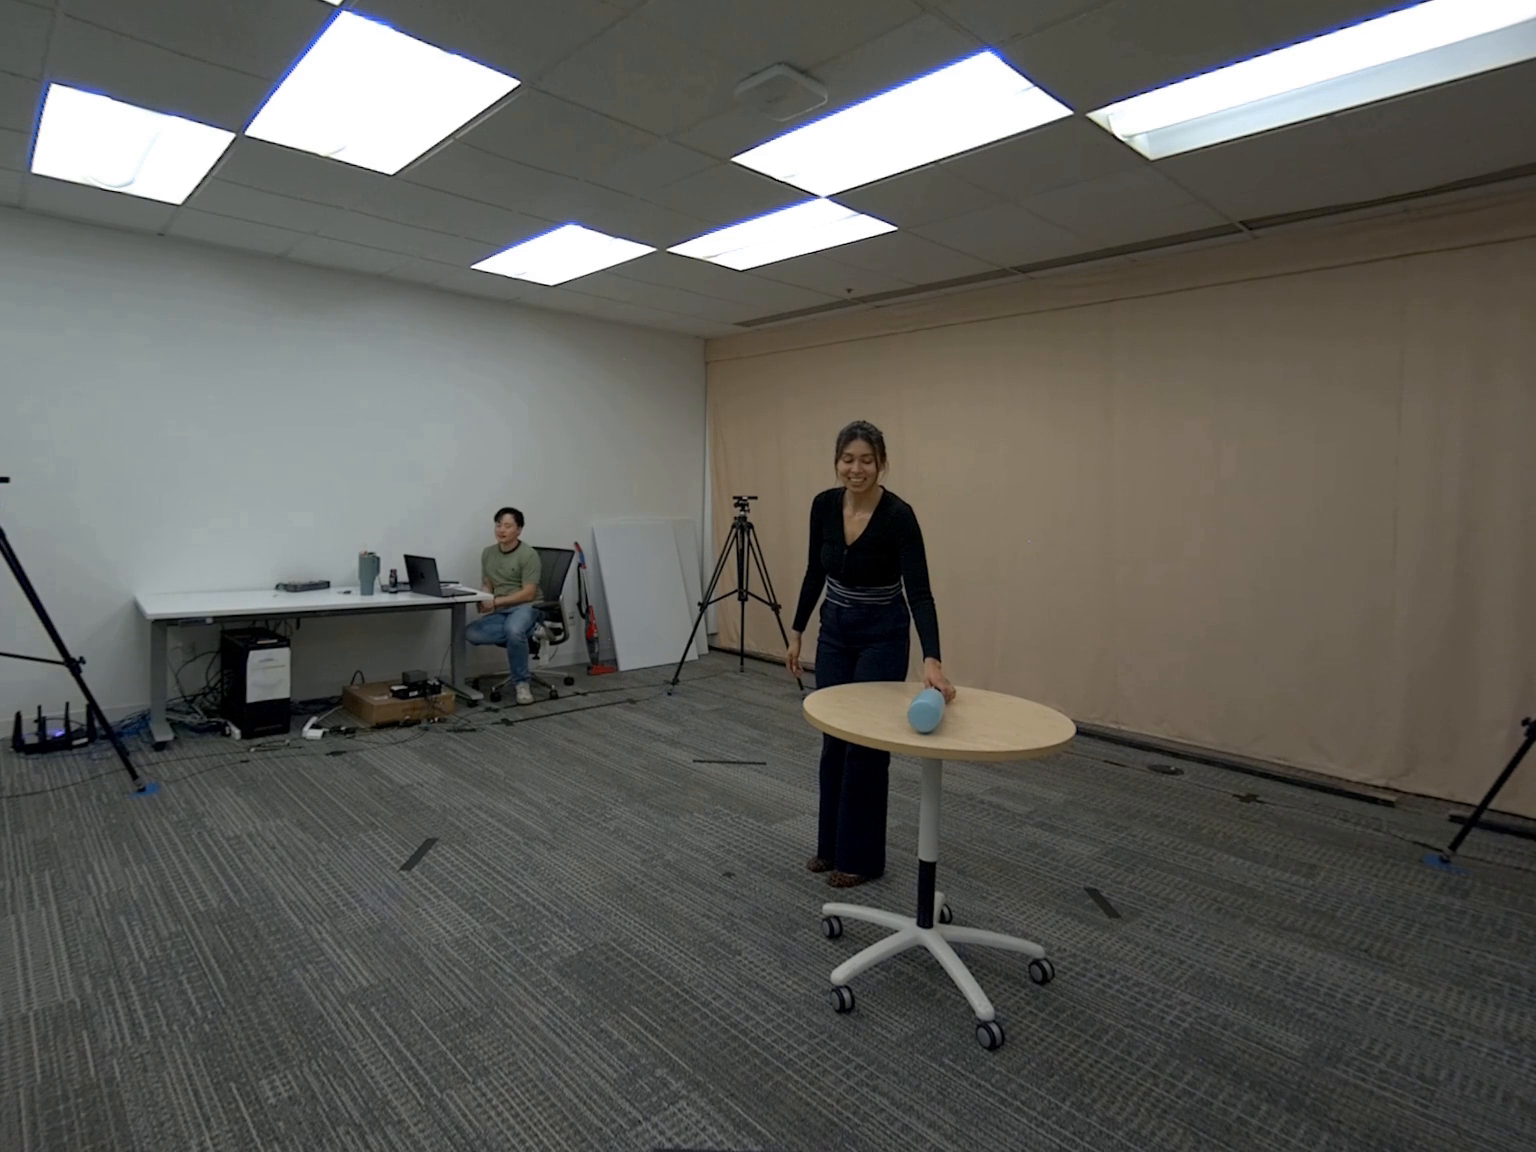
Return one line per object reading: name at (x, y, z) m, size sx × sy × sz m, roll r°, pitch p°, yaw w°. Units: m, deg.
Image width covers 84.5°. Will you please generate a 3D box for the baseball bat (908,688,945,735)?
baseball bat at (0.479, 0.362, 2.435) m, size 0.090 × 0.089 × 0.536 m, roll 3°, pitch 3°, yaw 16°
